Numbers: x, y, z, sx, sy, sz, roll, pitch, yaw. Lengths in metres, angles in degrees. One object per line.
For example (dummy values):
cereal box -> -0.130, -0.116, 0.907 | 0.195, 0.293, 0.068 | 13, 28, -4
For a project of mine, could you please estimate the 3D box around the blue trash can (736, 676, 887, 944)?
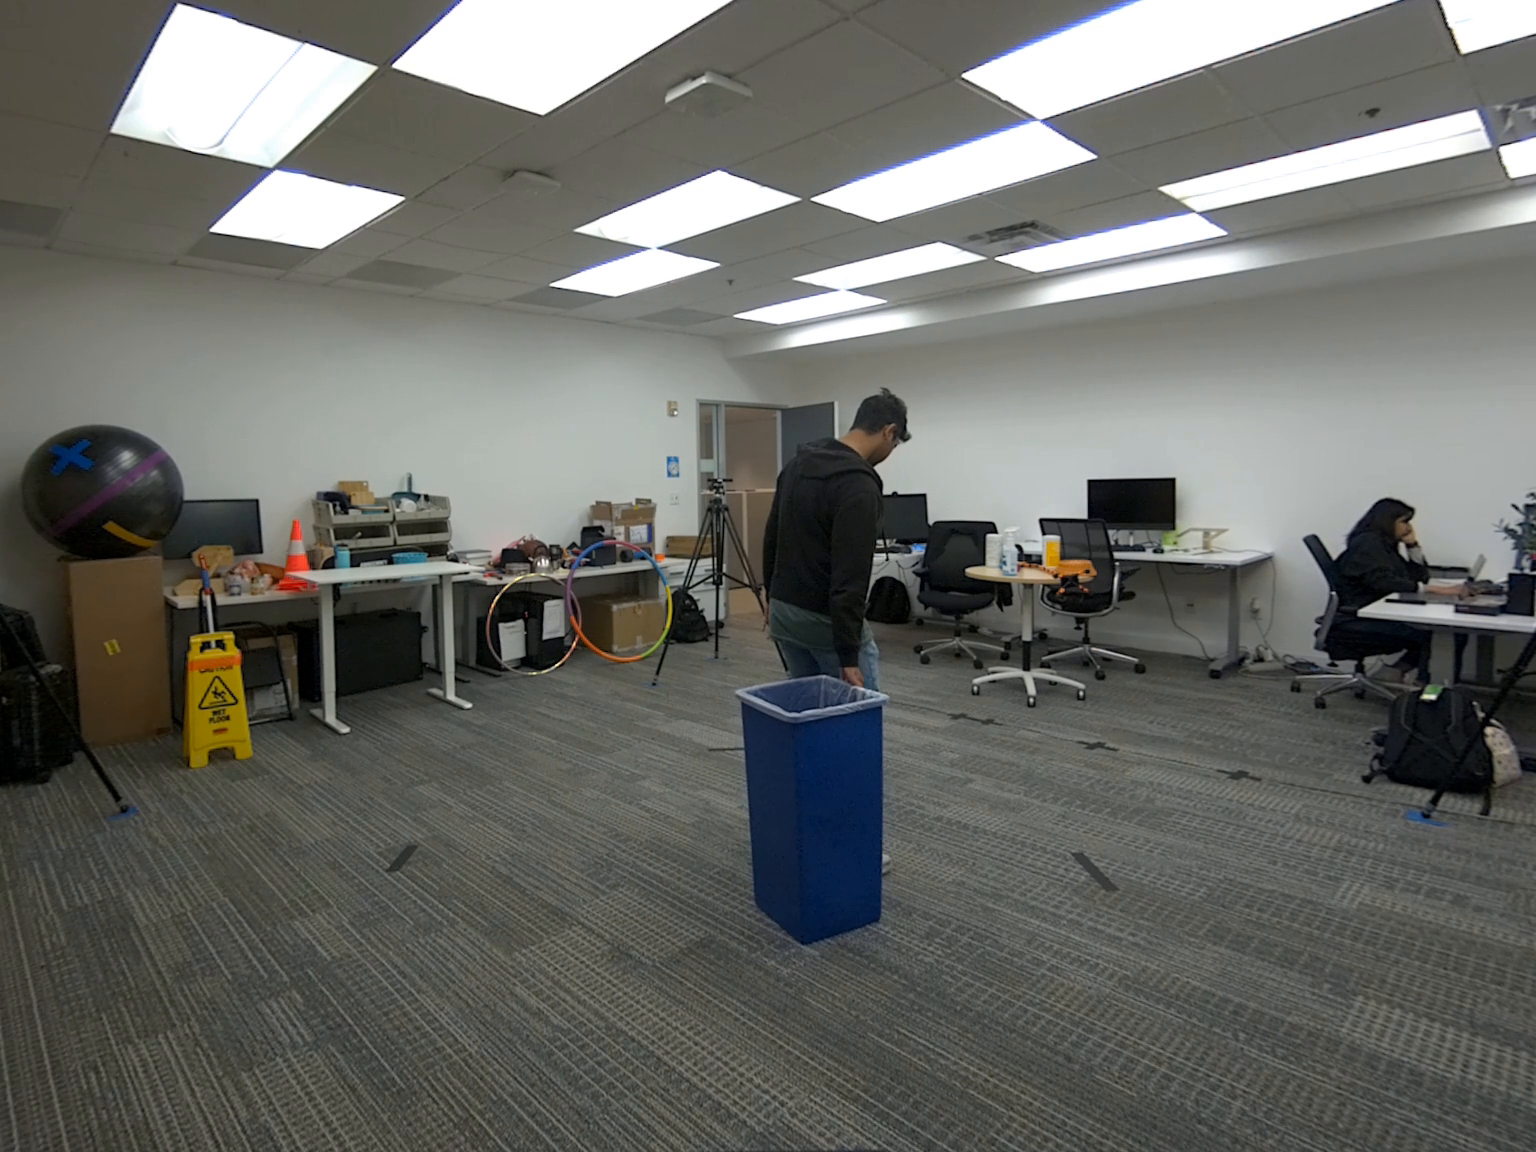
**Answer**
blue trash can -> 0.142, 0.726, 2.730 | 0.369, 0.710, 0.384 | -4, 6, -30
